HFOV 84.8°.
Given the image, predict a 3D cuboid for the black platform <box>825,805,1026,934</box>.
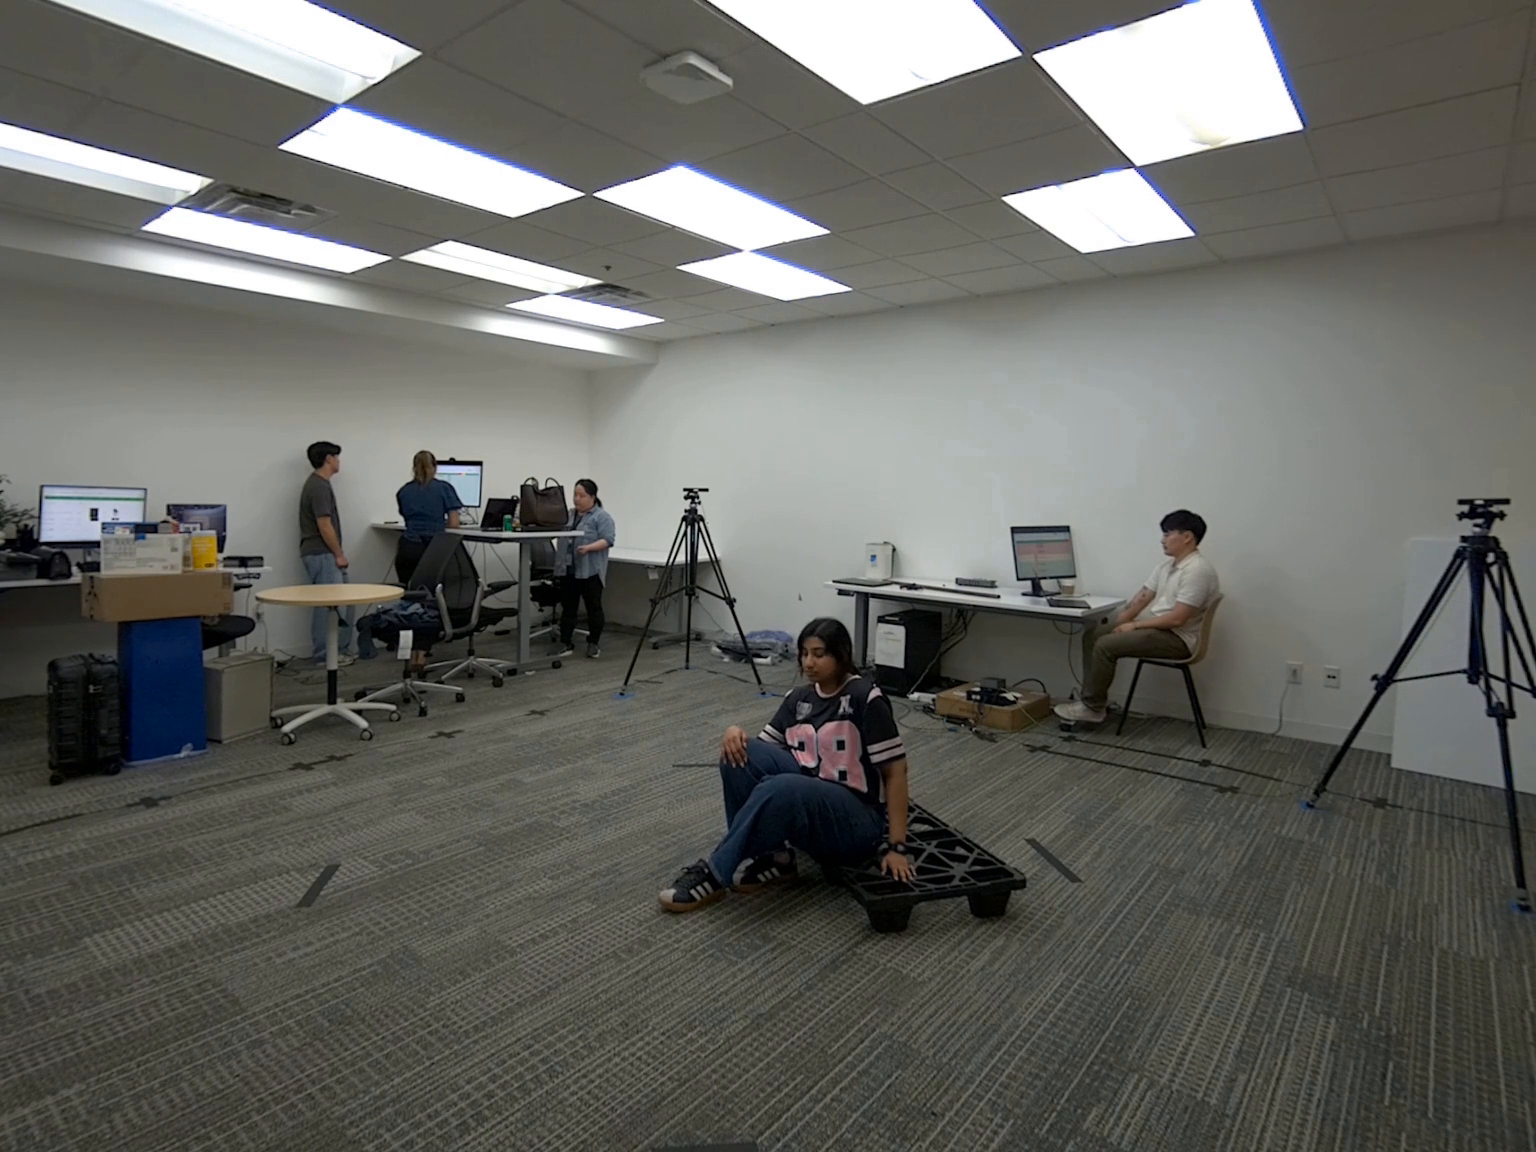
[{"bbox_3d":[0.432,1.018,3.084,0.594,0.143,0.824,-1,5,-20],"label":"black platform"}]
